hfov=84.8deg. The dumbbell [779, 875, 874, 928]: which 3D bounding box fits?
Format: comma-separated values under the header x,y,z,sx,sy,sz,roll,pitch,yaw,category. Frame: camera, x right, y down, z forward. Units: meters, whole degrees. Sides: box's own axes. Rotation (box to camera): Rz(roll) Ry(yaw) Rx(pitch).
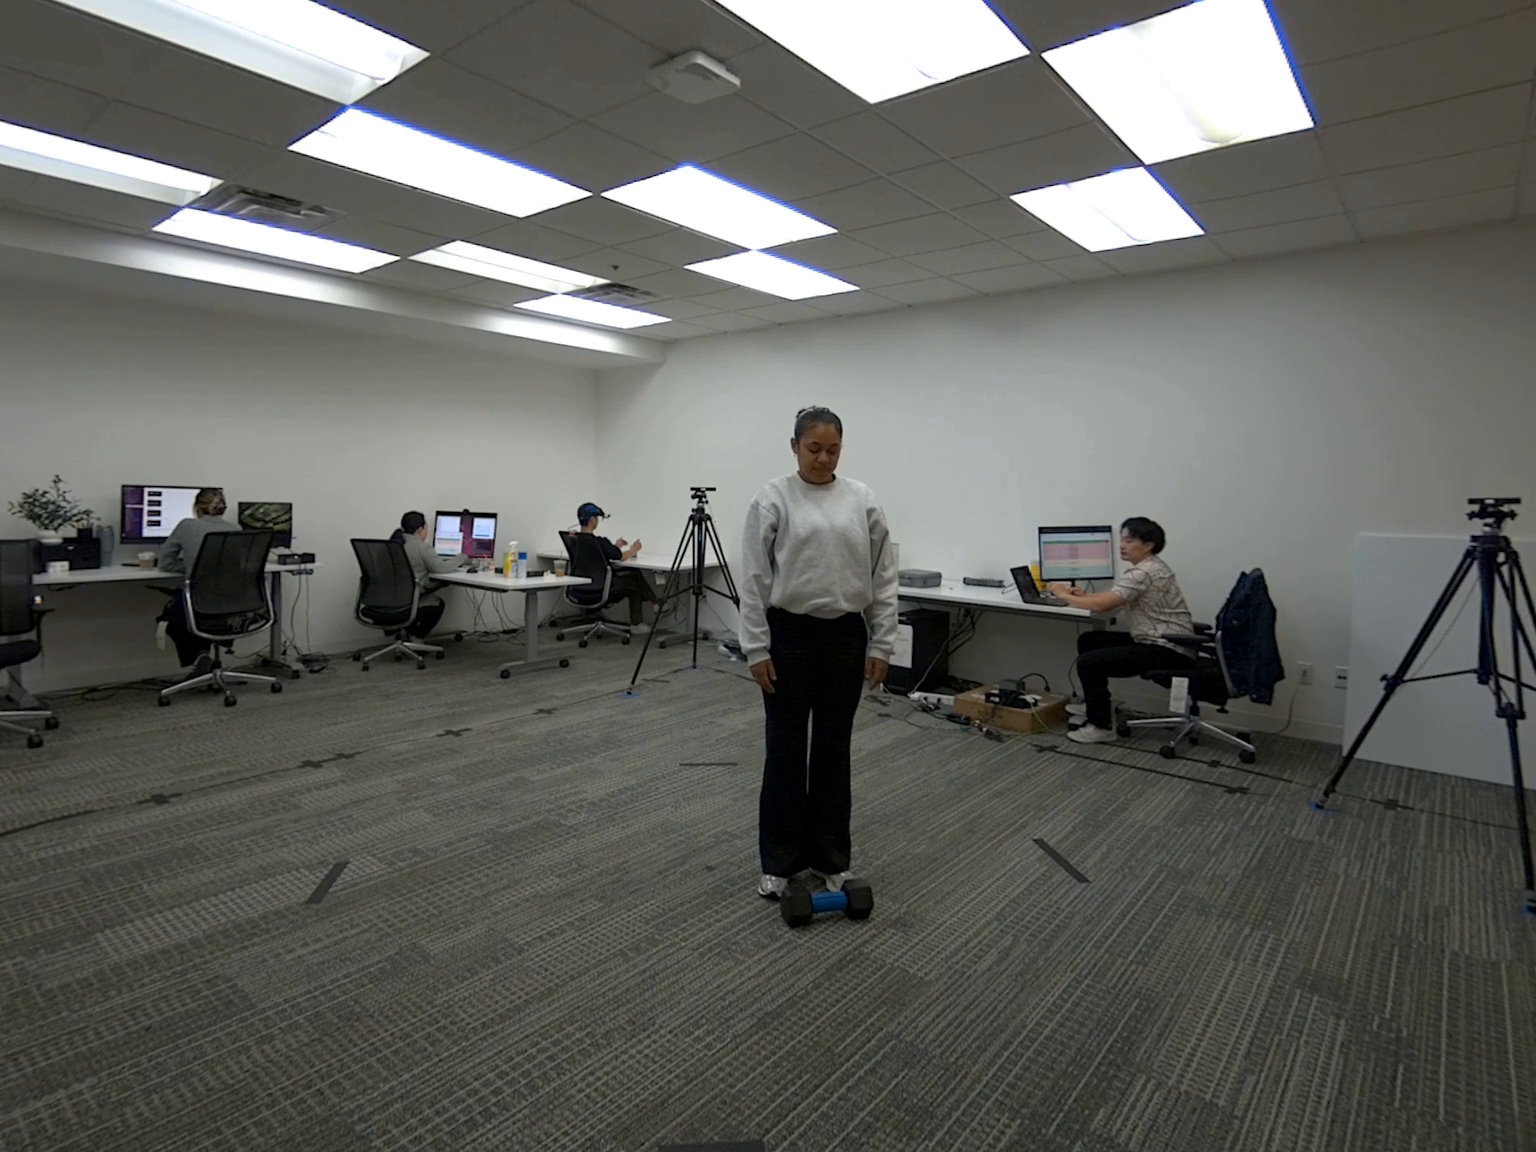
x,y,z,sx,sy,sz,roll,pitch,yaw,category
0.186,1.052,2.762,0.289,0.108,0.125,-1,6,-16,dumbbell
